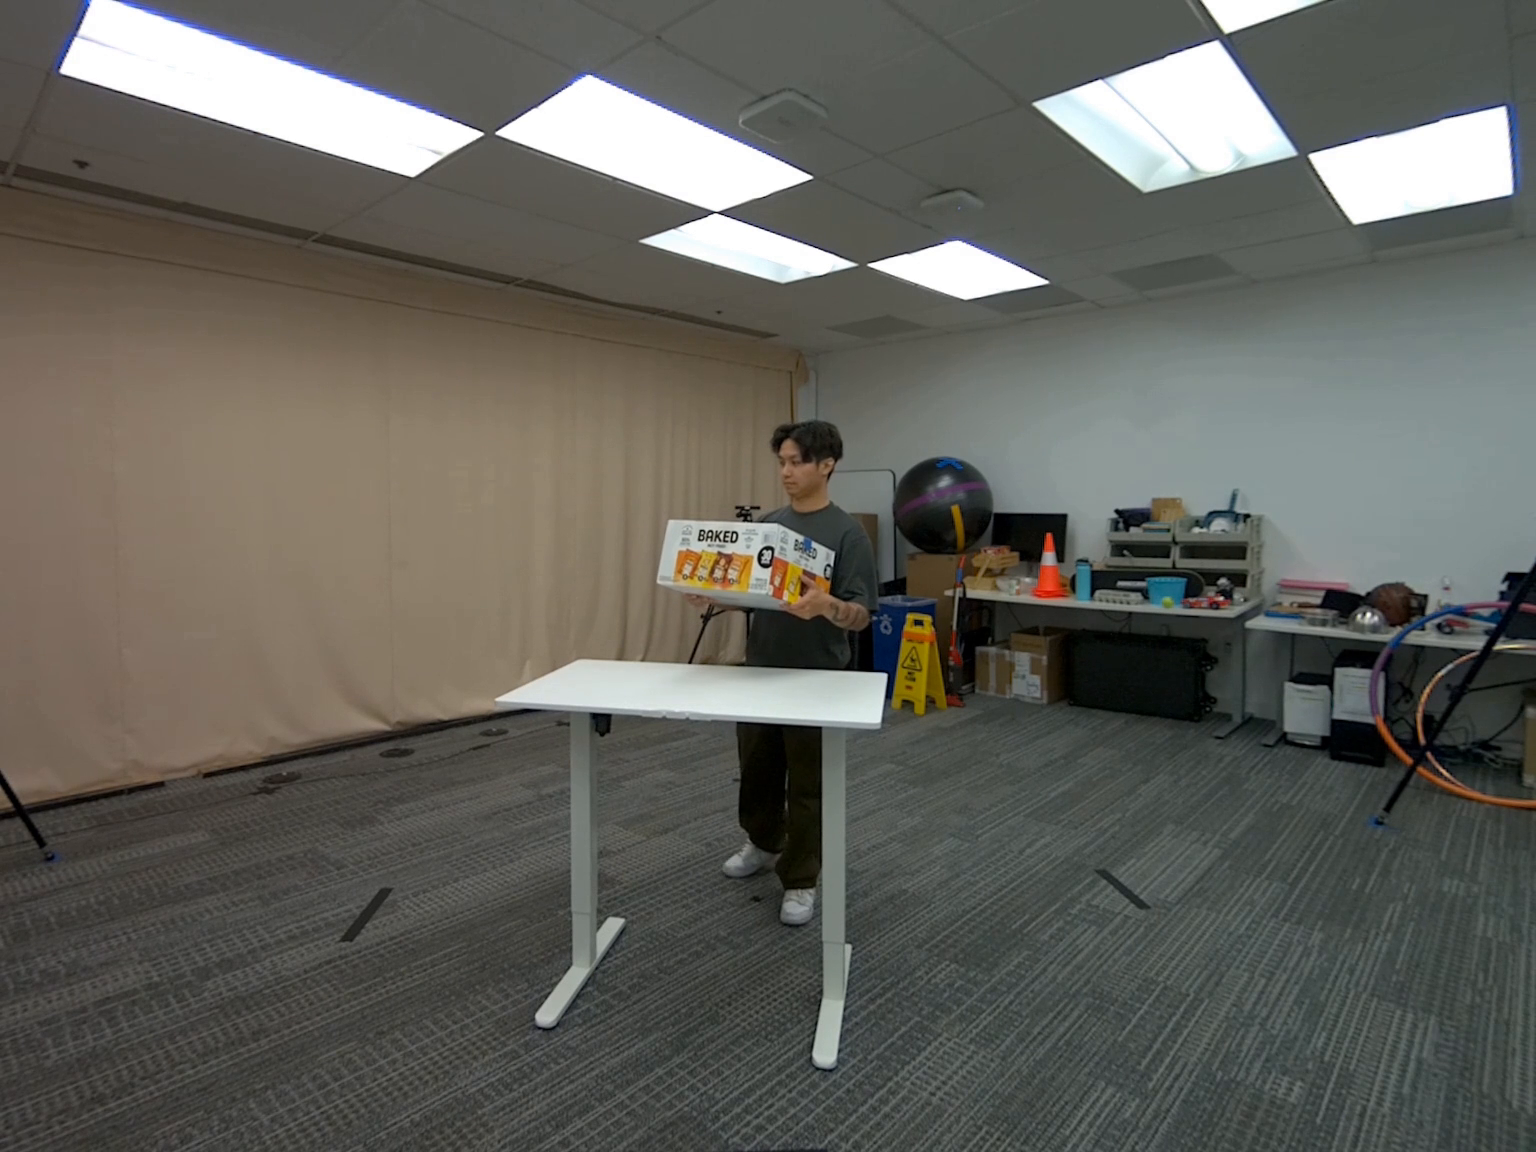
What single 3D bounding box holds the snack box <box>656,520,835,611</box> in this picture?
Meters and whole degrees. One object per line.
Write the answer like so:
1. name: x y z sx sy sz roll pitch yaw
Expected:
1. snack box: -0.068 -0.024 2.593 0.418 0.206 0.328 4 -11 35
